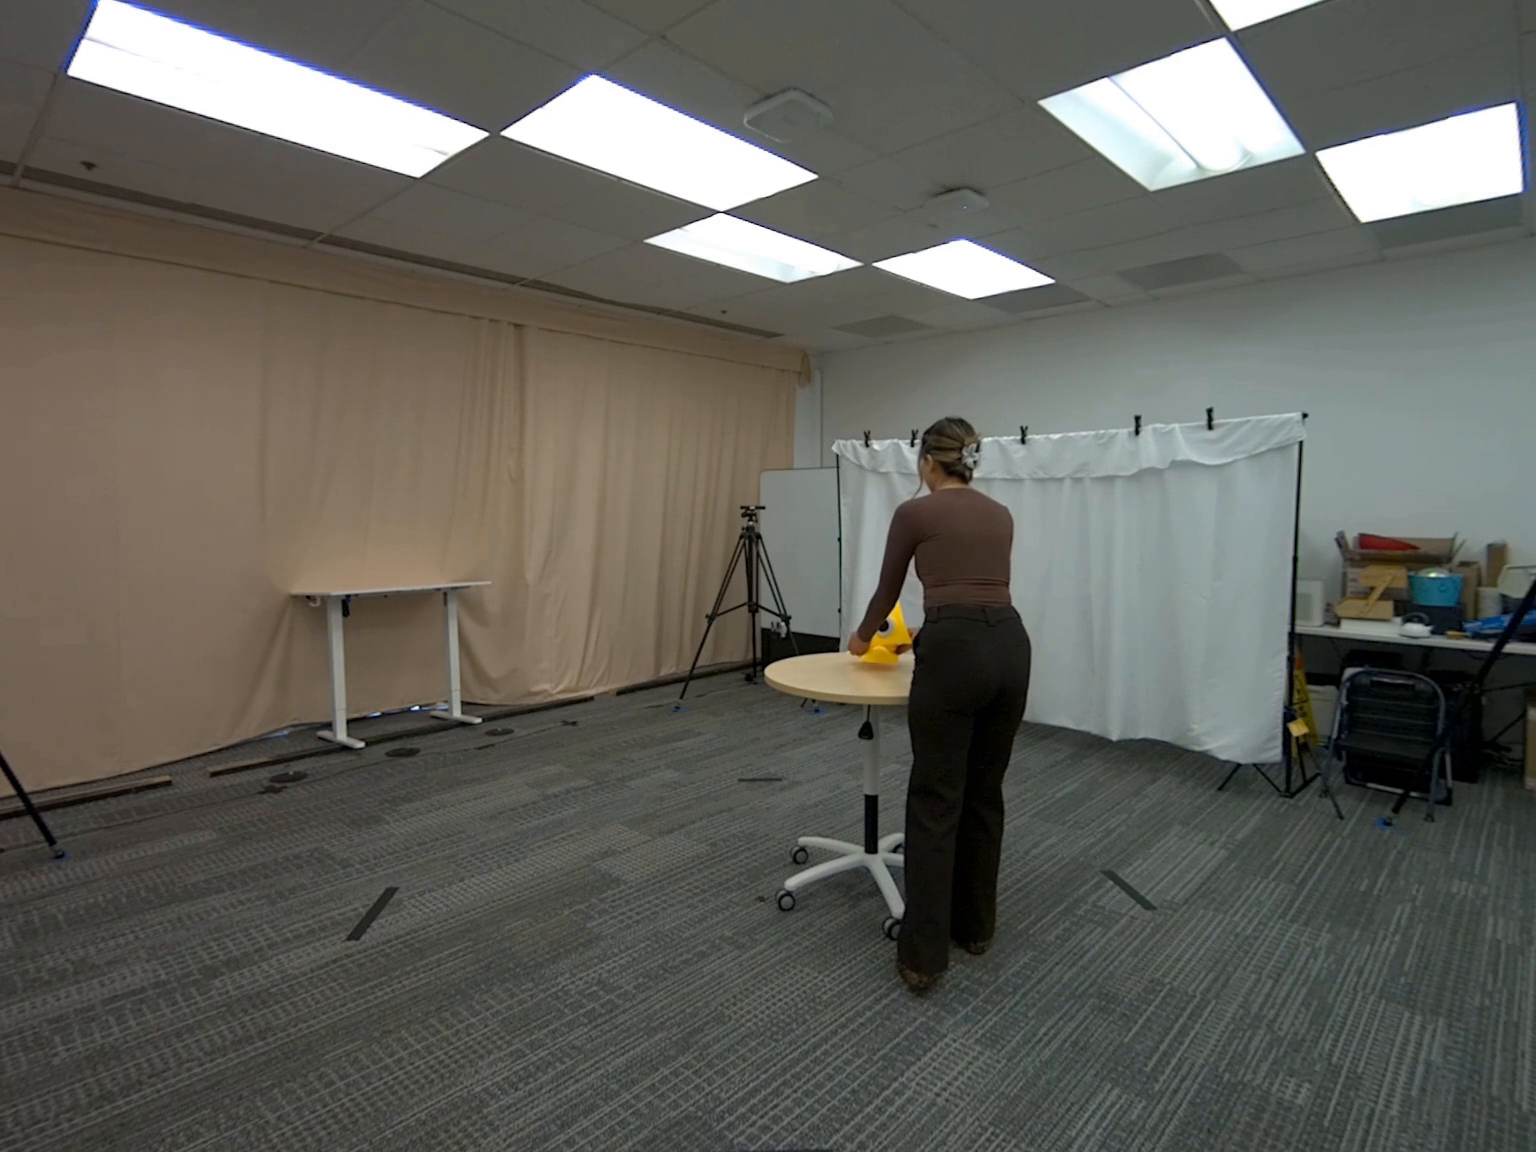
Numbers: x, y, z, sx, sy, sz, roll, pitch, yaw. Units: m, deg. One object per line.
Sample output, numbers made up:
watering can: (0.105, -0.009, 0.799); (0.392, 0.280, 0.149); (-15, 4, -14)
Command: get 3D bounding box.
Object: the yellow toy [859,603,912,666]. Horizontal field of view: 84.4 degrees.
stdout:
yellow toy: (0.411, 0.188, 3.101); (0.190, 0.230, 0.208); (6, 3, -14)
